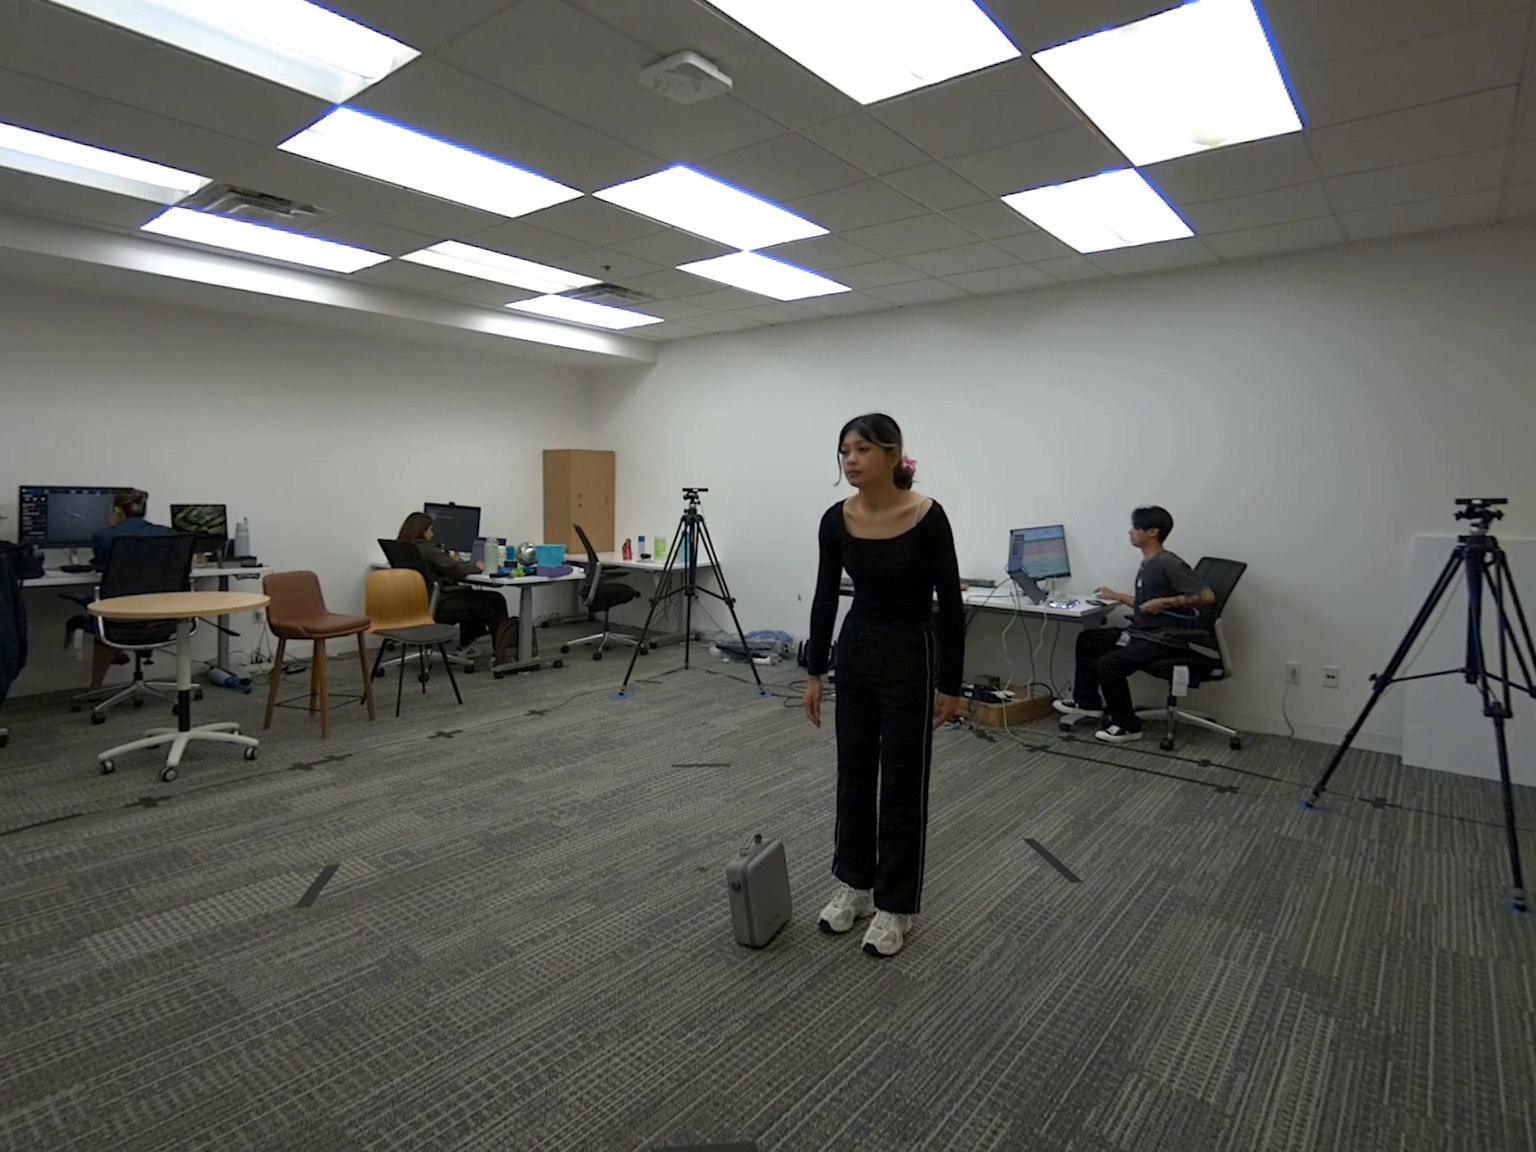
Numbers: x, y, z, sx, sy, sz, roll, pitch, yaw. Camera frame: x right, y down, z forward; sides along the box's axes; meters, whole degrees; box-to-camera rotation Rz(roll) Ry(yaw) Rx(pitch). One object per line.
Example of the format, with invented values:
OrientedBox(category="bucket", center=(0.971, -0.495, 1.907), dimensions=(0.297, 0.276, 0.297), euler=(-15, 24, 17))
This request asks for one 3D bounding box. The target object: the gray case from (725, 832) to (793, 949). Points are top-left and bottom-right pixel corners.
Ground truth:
OrientedBox(category="gray case", center=(-0.034, 0.984, 2.683), dimensions=(0.106, 0.261, 0.251), euler=(-9, -2, 26))
